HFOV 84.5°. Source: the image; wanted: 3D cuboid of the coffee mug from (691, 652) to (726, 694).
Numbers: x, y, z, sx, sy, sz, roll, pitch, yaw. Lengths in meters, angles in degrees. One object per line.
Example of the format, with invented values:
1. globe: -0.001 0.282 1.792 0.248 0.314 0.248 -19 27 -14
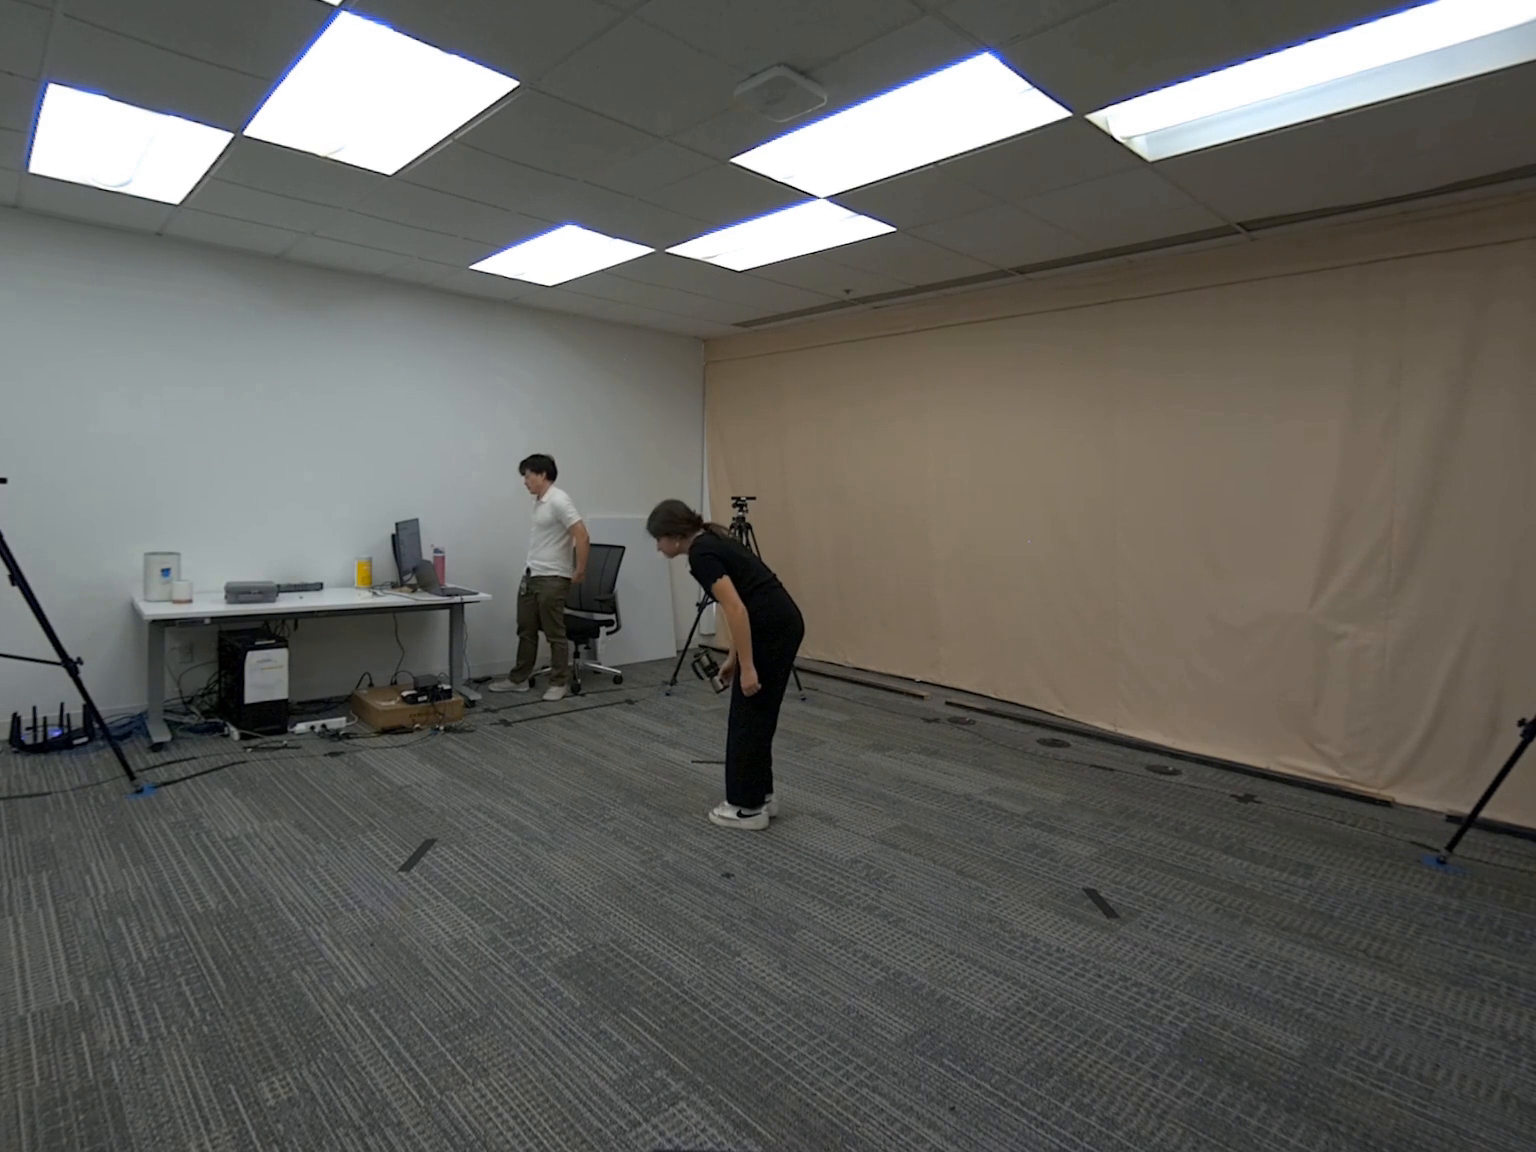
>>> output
1. coffee mug: -0.280 0.445 3.812 0.121 0.204 0.087 -25 -6 -8
